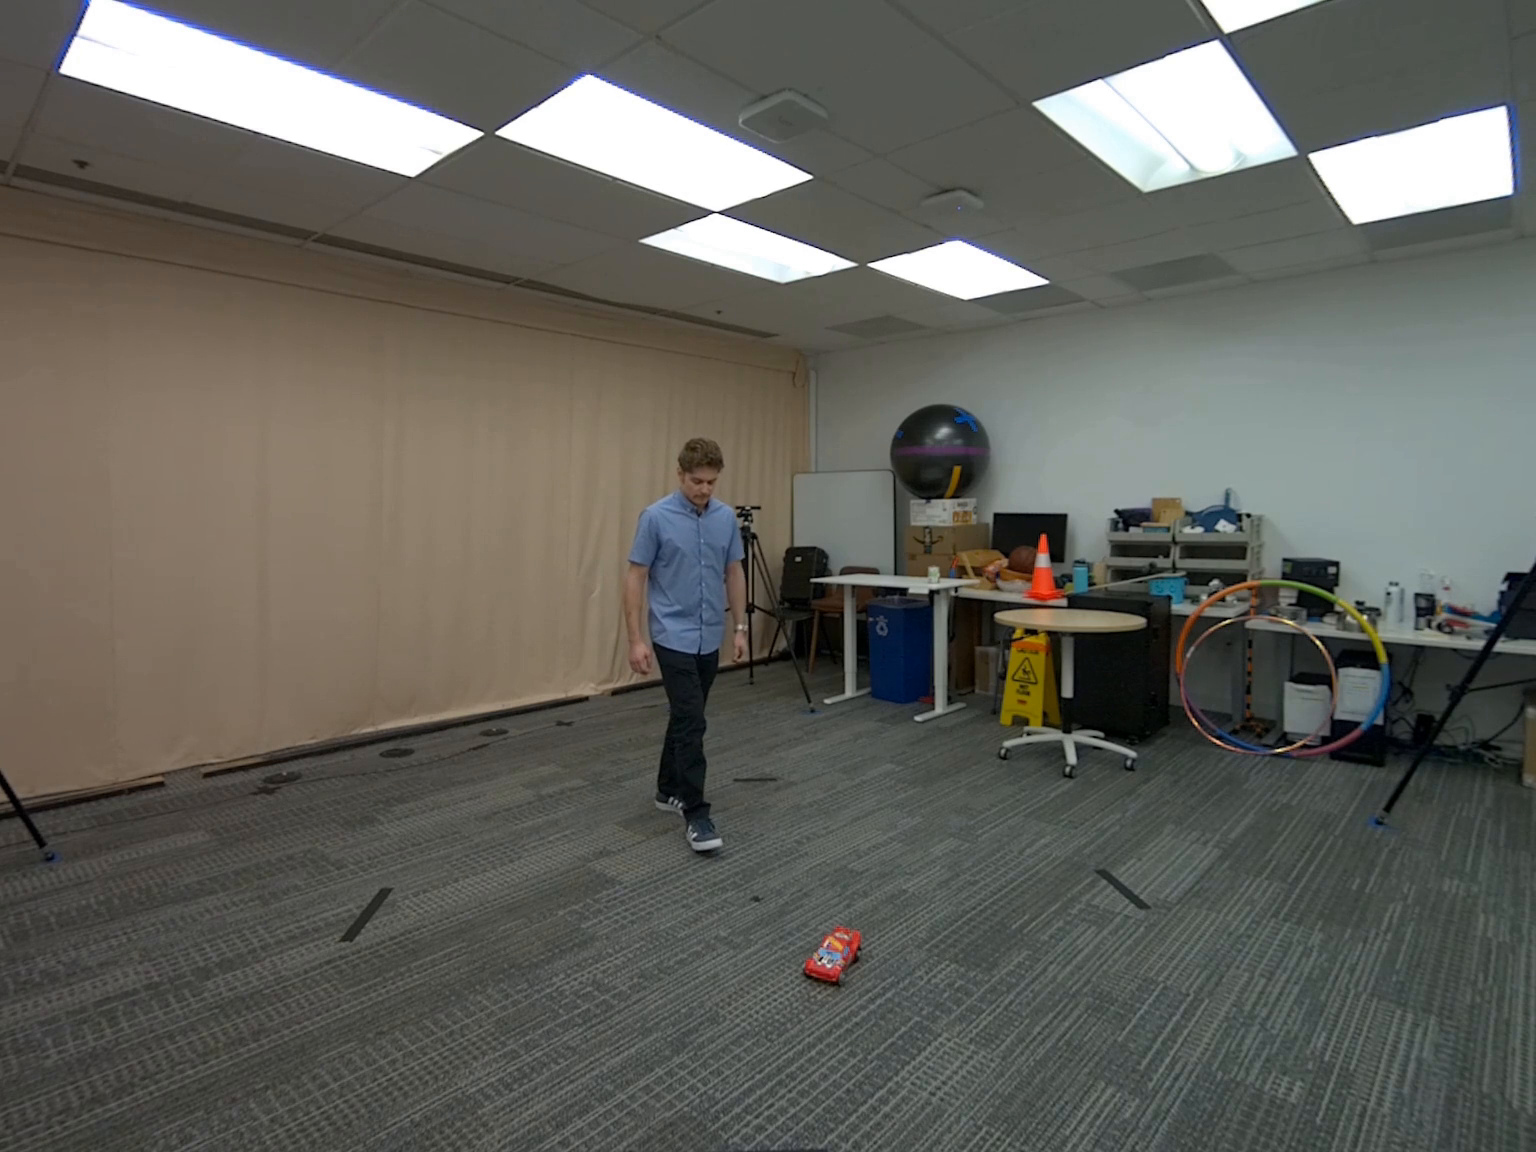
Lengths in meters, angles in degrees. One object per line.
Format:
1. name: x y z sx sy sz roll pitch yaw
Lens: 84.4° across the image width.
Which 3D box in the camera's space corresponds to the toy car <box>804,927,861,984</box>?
1. toy car: 0.209 1.152 2.550 0.134 0.082 0.250 1 16 28
